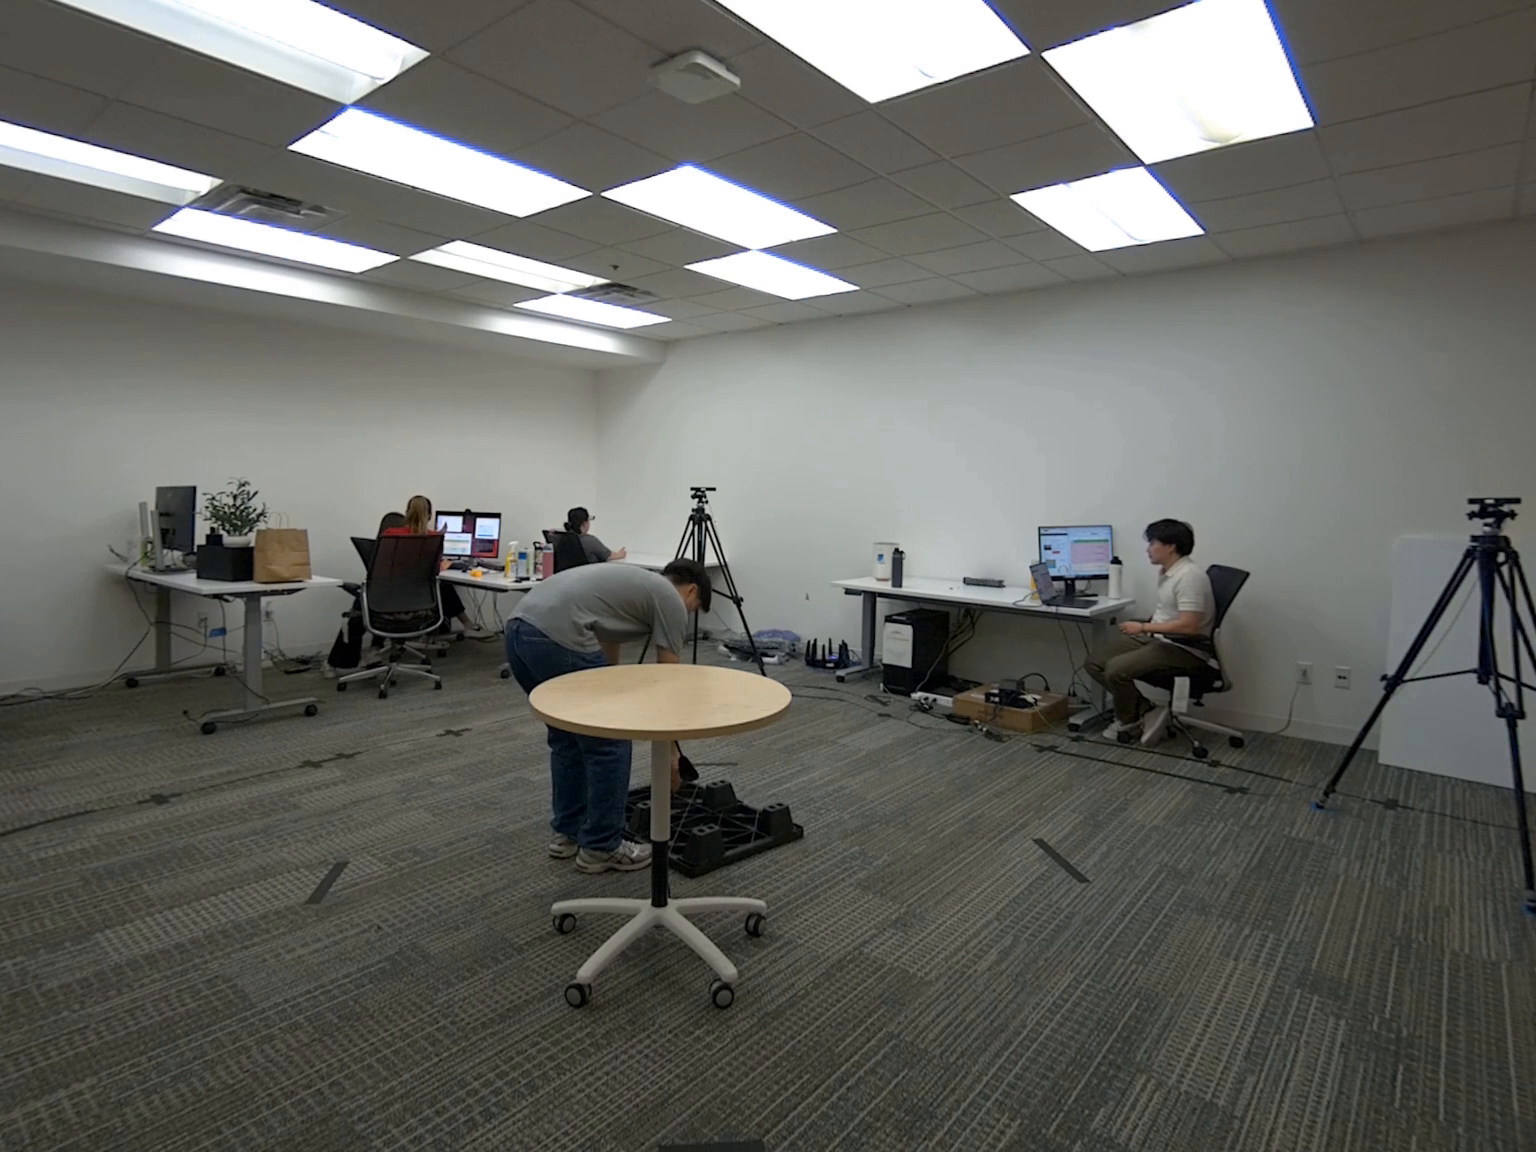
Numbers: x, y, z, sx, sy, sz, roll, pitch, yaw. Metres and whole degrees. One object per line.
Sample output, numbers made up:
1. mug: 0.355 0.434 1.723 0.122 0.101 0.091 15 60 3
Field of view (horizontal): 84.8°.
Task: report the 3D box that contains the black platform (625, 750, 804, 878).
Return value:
1. black platform: -0.353 0.962 3.505 0.587 0.143 0.833 -4 7 -44
